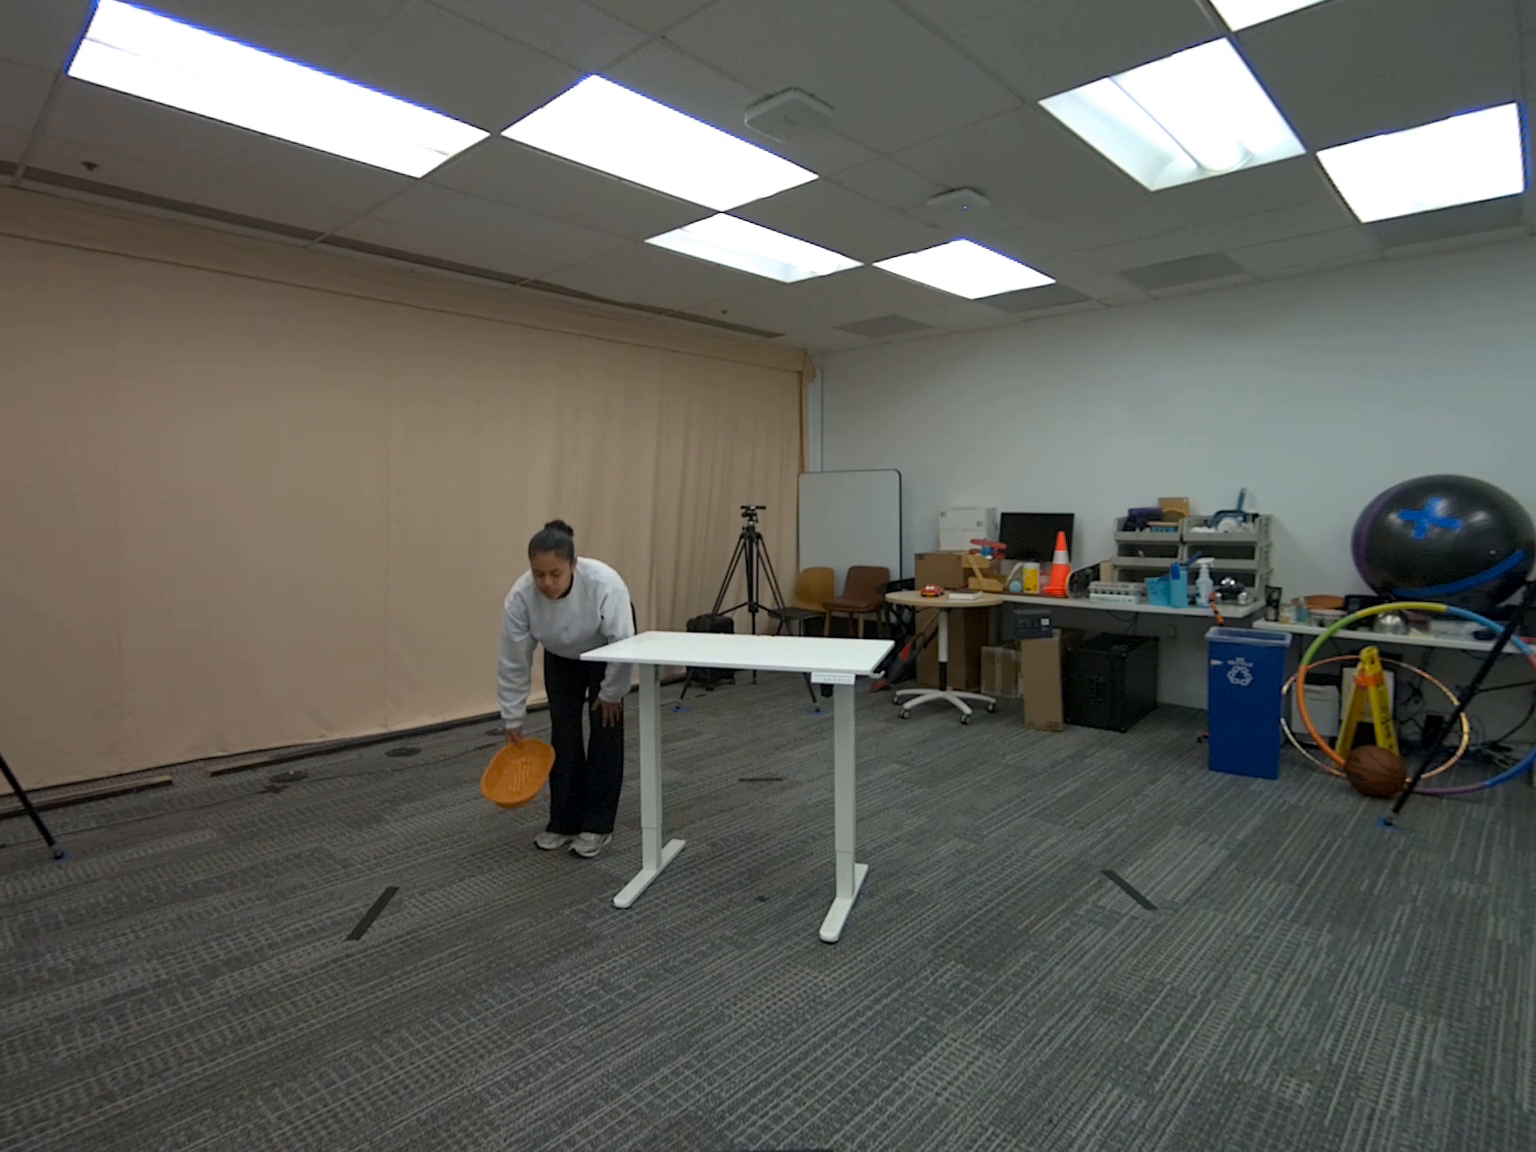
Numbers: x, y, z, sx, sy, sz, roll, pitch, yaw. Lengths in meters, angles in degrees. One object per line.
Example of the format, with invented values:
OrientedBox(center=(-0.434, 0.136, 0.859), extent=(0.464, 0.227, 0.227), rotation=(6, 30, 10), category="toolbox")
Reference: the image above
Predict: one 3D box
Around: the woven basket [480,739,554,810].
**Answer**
OrientedBox(center=(-0.936, 0.758, 3.219), extent=(0.255, 0.072, 0.352), rotation=(3, 30, 9), category="woven basket")
